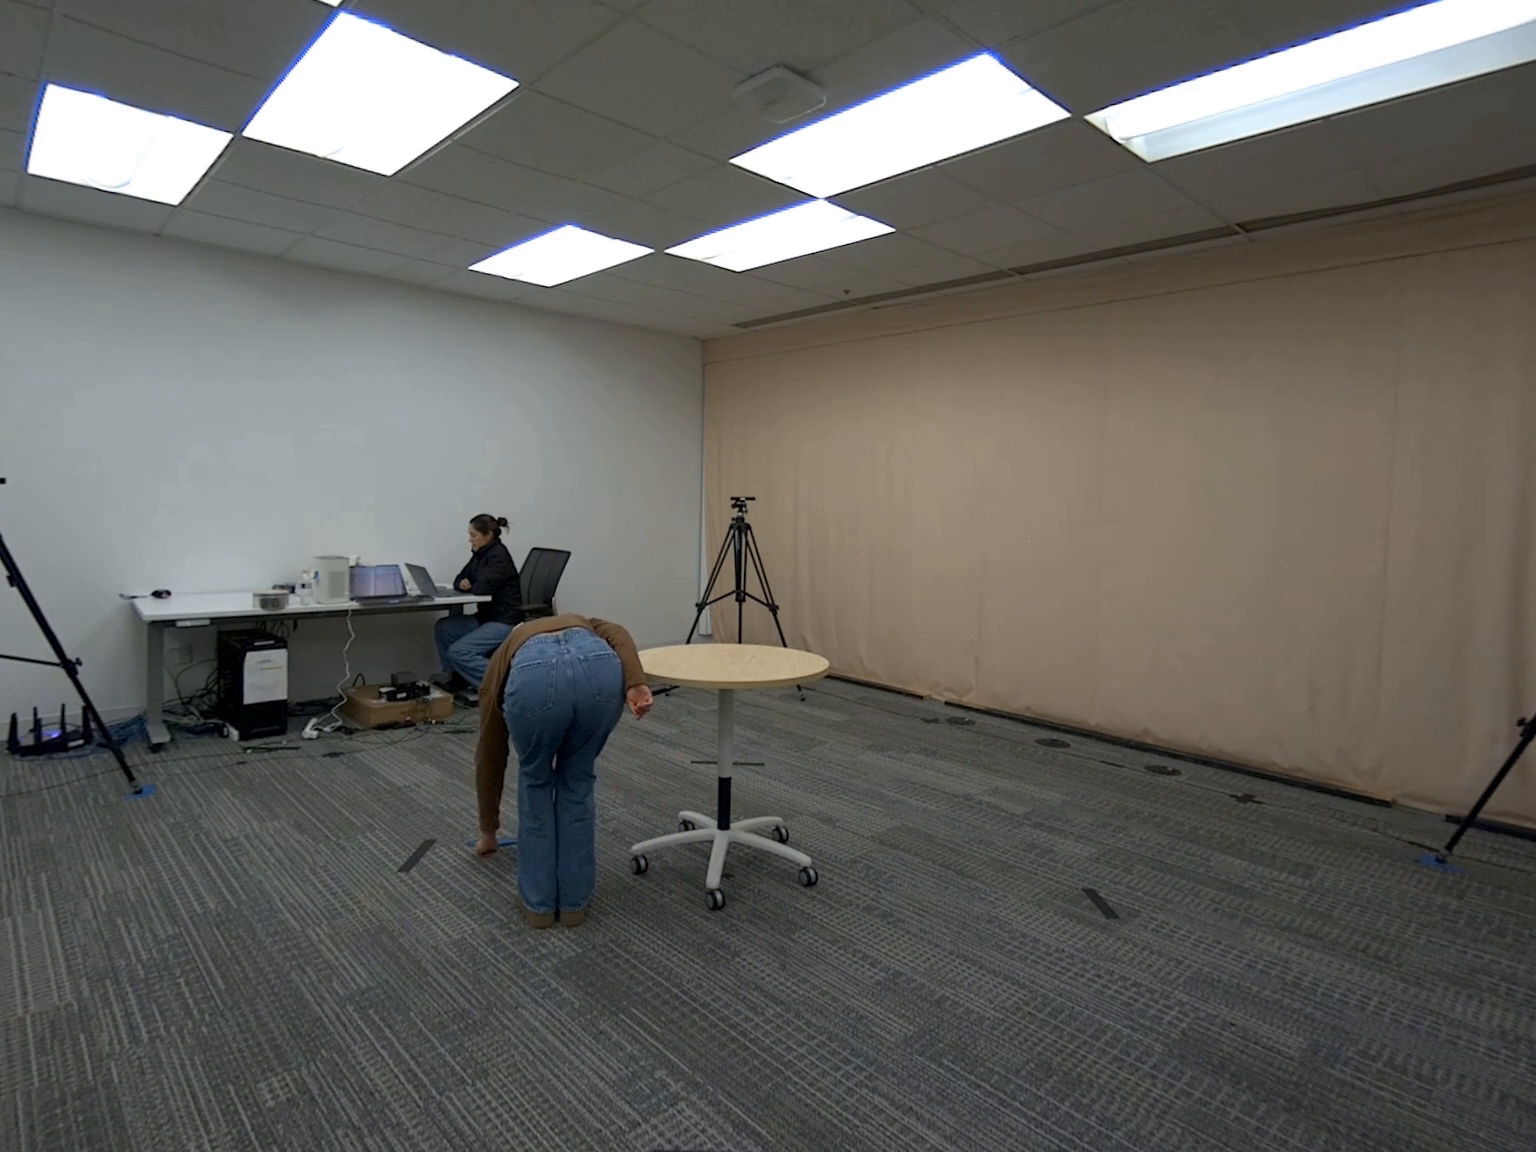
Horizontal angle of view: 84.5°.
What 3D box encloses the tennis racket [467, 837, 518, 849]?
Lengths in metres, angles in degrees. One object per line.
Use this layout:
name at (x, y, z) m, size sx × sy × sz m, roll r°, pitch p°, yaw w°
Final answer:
tennis racket at (-1.014, 0.991, 3.112) m, size 0.212 × 0.032 × 0.433 m, roll 0°, pitch -12°, yaw -13°
